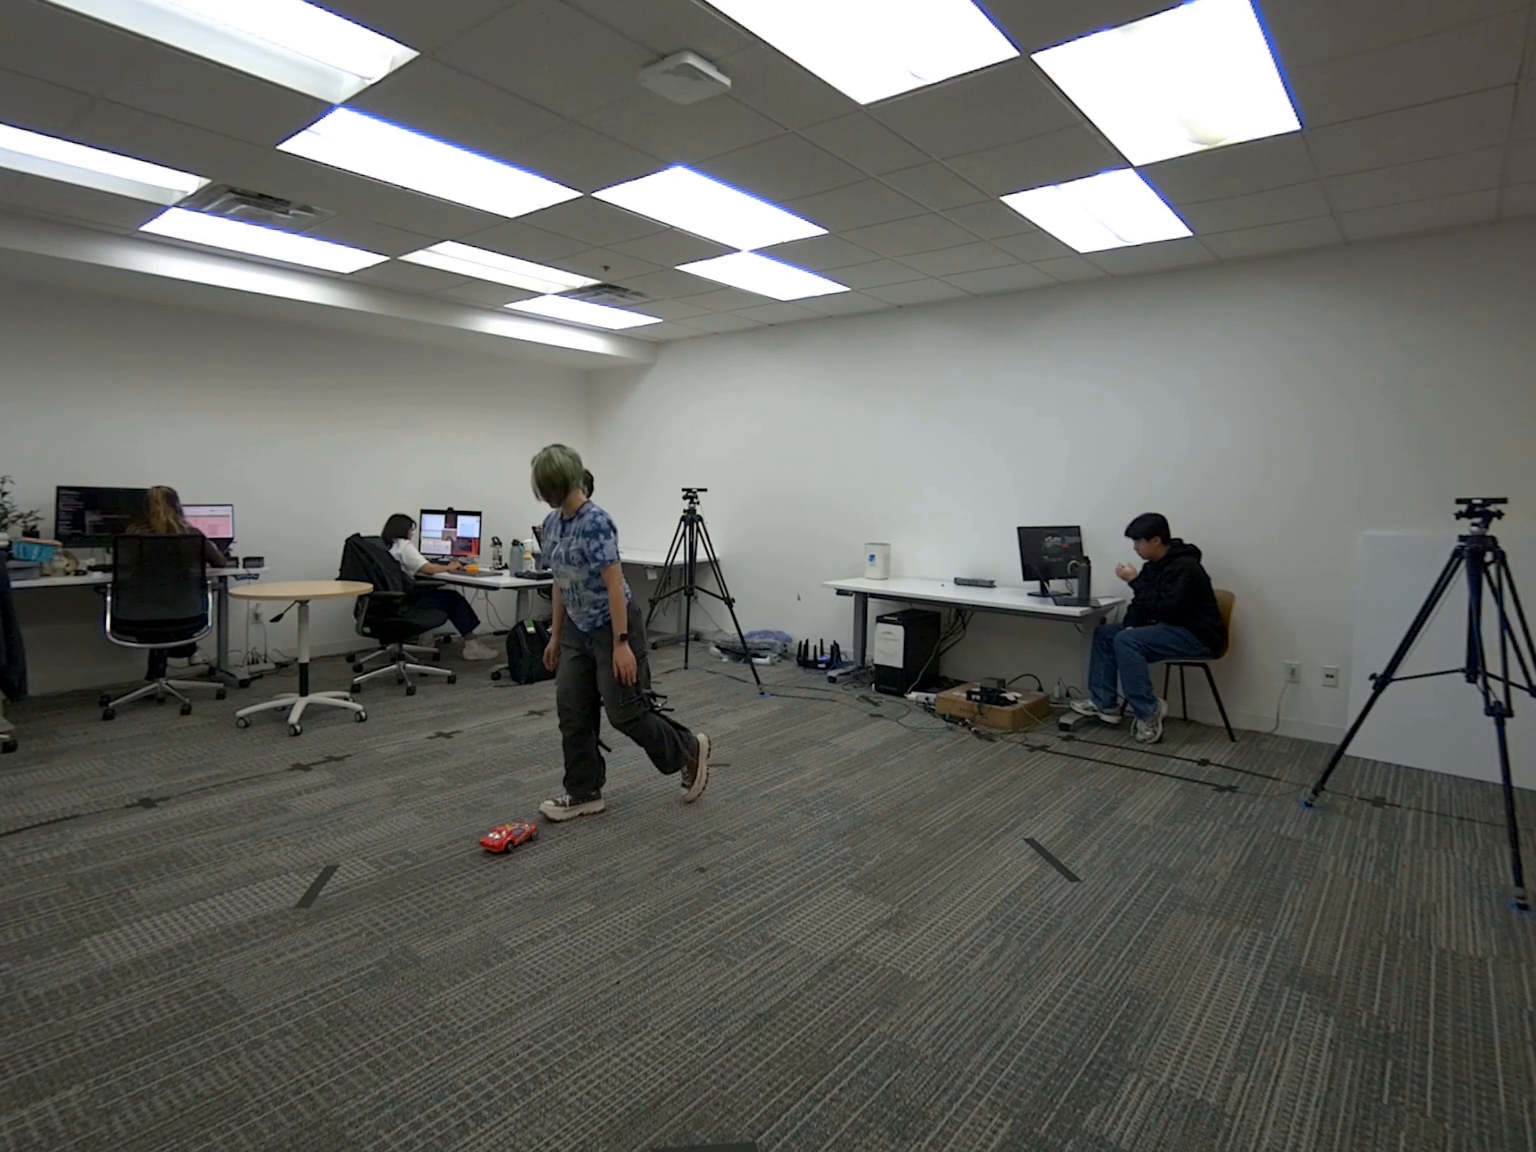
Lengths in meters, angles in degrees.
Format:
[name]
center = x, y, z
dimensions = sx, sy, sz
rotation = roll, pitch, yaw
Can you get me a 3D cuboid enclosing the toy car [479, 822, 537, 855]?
[toy car]
center = -1.019, 1.007, 3.283
dimensions = 0.134, 0.084, 0.246
rotation = 3, -6, 27
